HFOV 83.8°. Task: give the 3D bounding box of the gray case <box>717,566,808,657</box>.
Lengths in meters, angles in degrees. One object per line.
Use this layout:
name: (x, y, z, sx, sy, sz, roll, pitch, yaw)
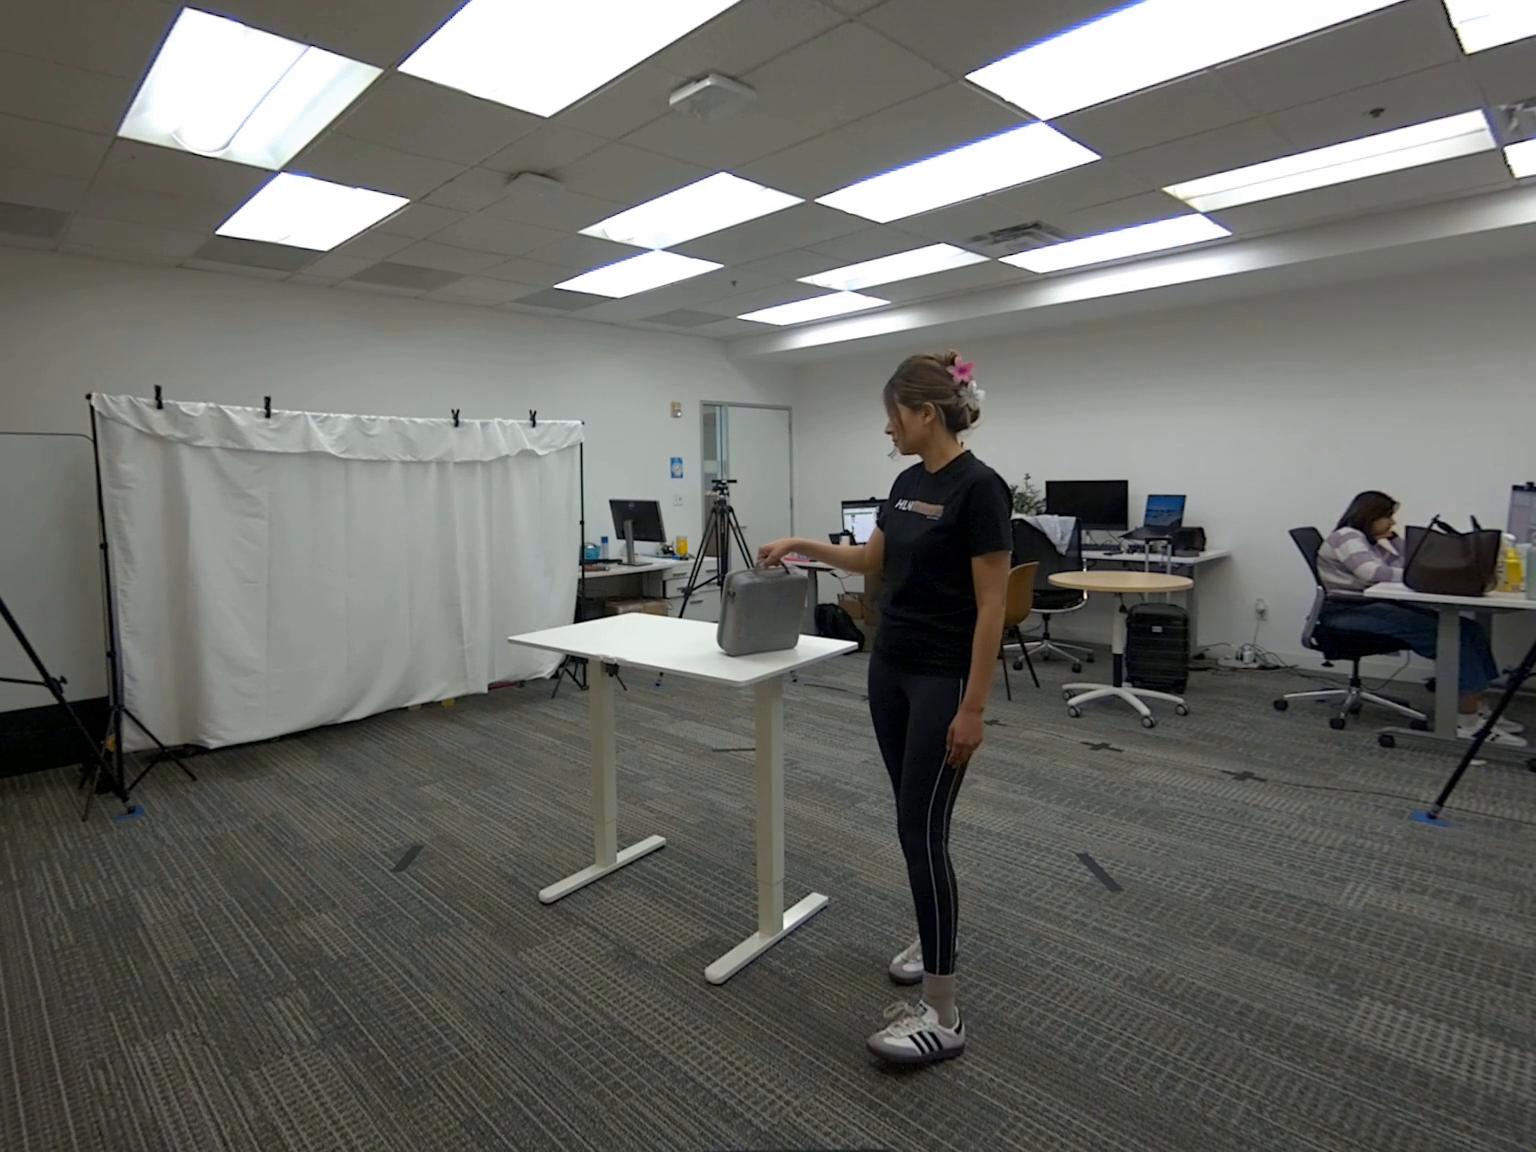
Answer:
gray case: (-0.010, 0.095, 2.559, 0.251, 0.257, 0.108, -4, 19, -29)
